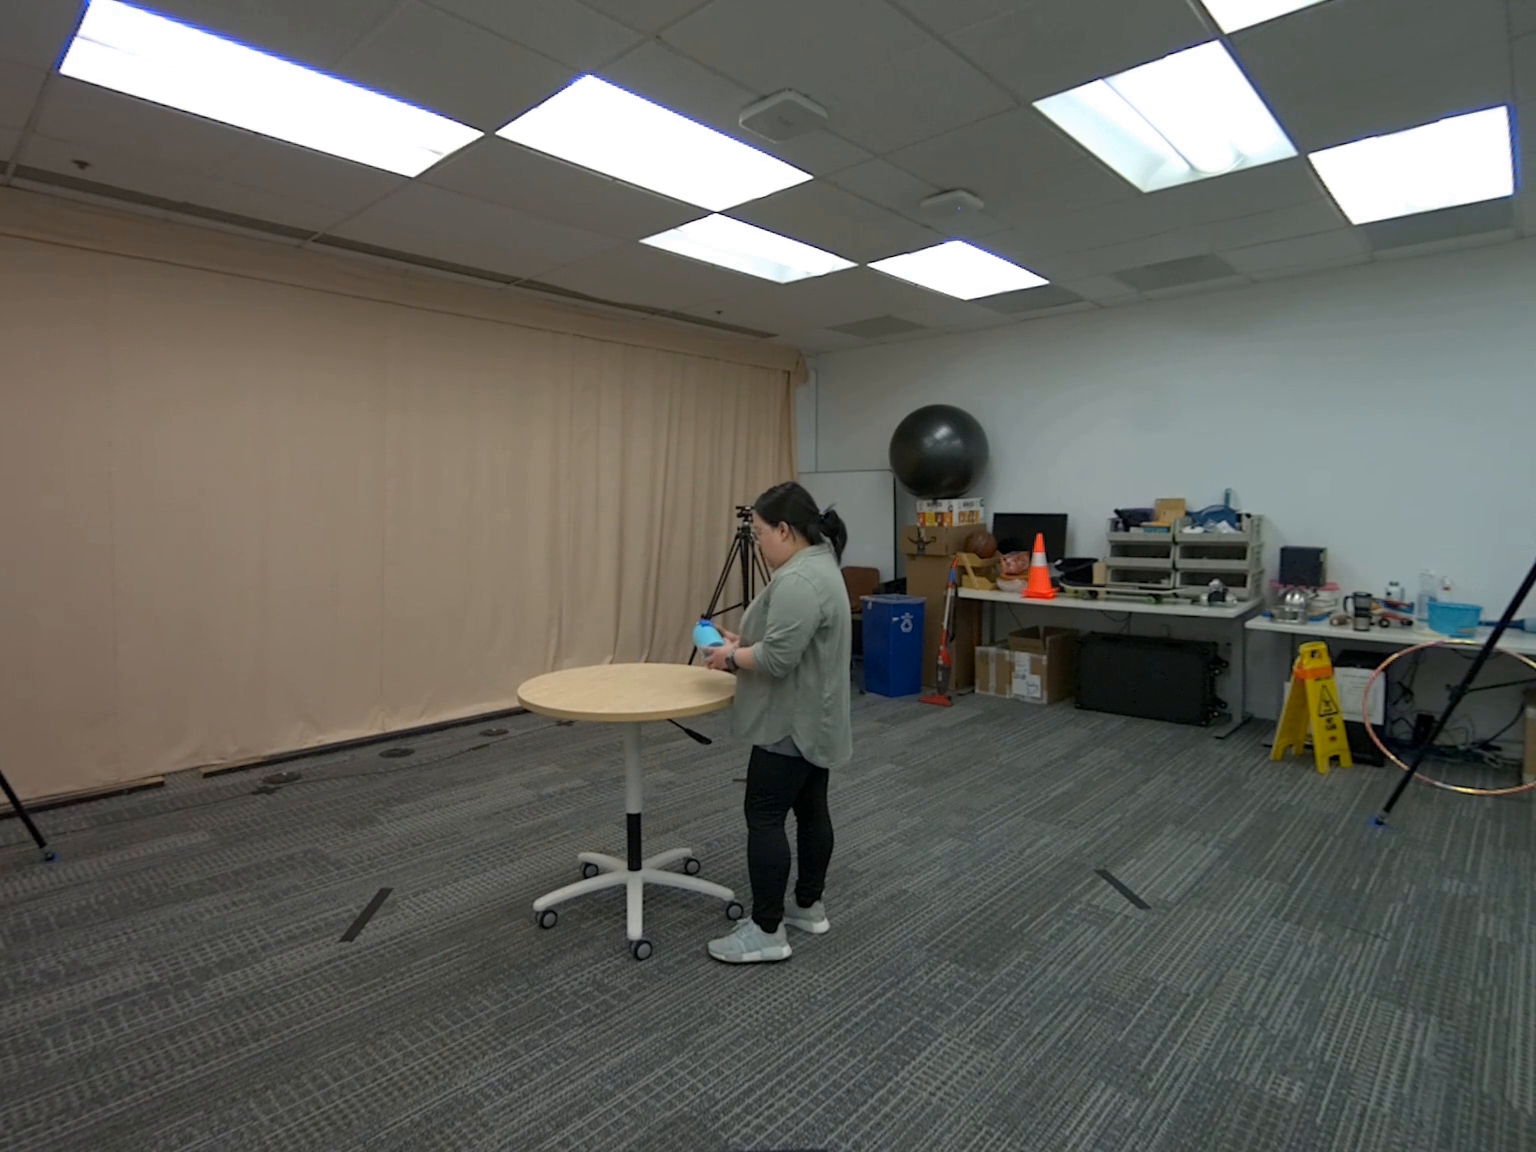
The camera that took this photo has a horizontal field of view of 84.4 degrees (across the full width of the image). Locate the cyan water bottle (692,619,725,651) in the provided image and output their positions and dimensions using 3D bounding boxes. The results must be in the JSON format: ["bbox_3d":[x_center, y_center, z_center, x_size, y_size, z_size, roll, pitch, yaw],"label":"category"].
[{"bbox_3d":[-0.198,0.220,2.856,0.091,0.092,0.289,-1,12,-14],"label":"cyan water bottle"}]
